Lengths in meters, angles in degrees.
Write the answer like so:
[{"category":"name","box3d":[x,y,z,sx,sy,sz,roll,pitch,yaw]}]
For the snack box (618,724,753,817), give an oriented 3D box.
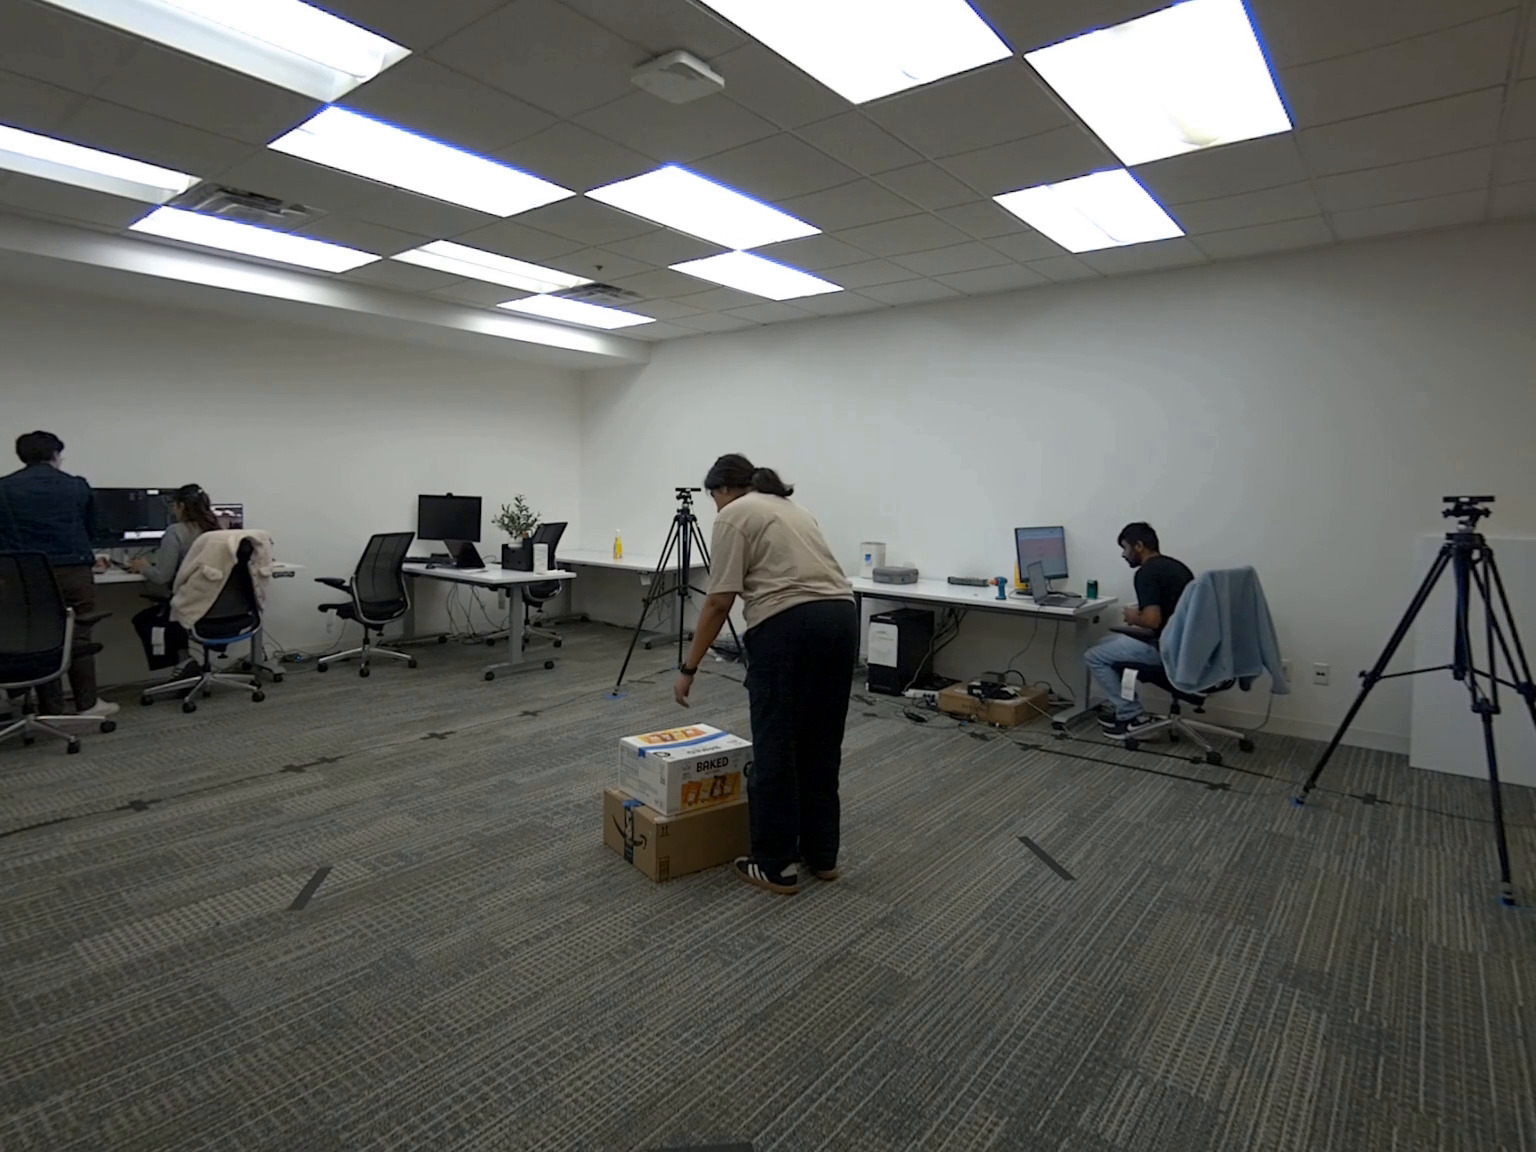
[{"category":"snack box","box3d":[-0.325,0.737,3.275,0.393,0.205,0.352,-3,6,-39]}]
